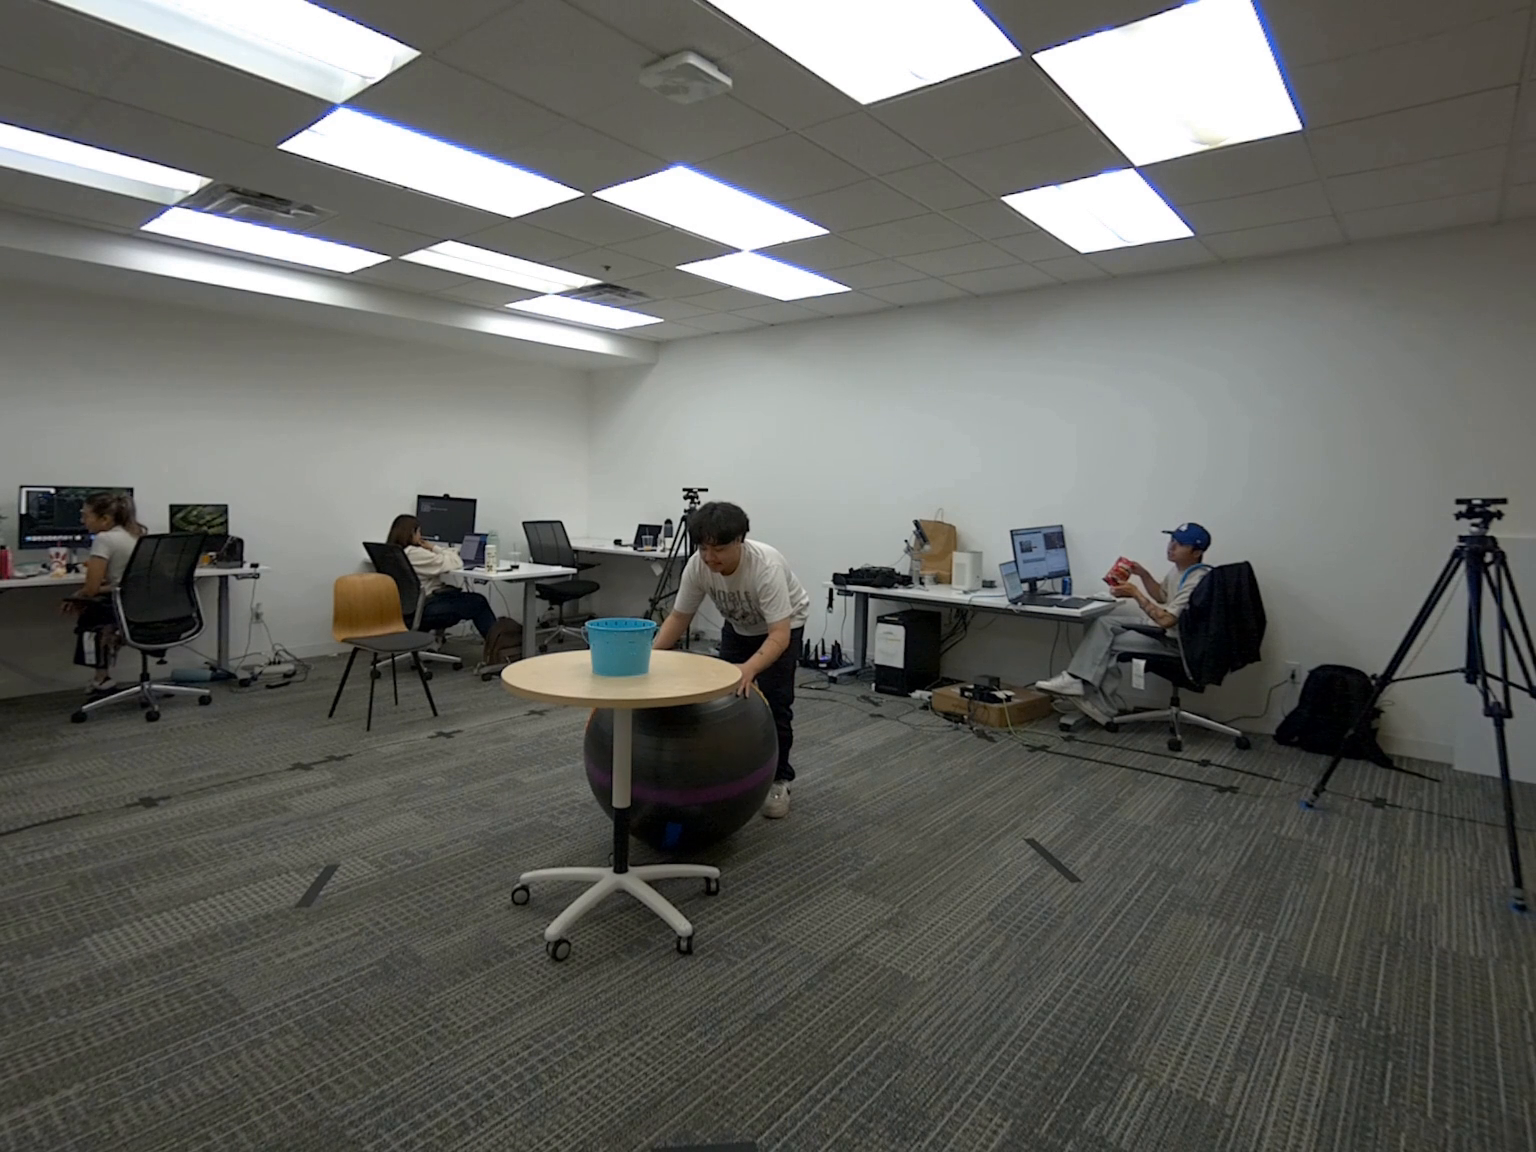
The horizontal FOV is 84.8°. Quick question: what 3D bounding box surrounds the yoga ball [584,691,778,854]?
[{"bbox_3d":[-0.352,0.678,3.352,0.757,0.755,0.762,1,4,-2],"label":"yoga ball"}]
